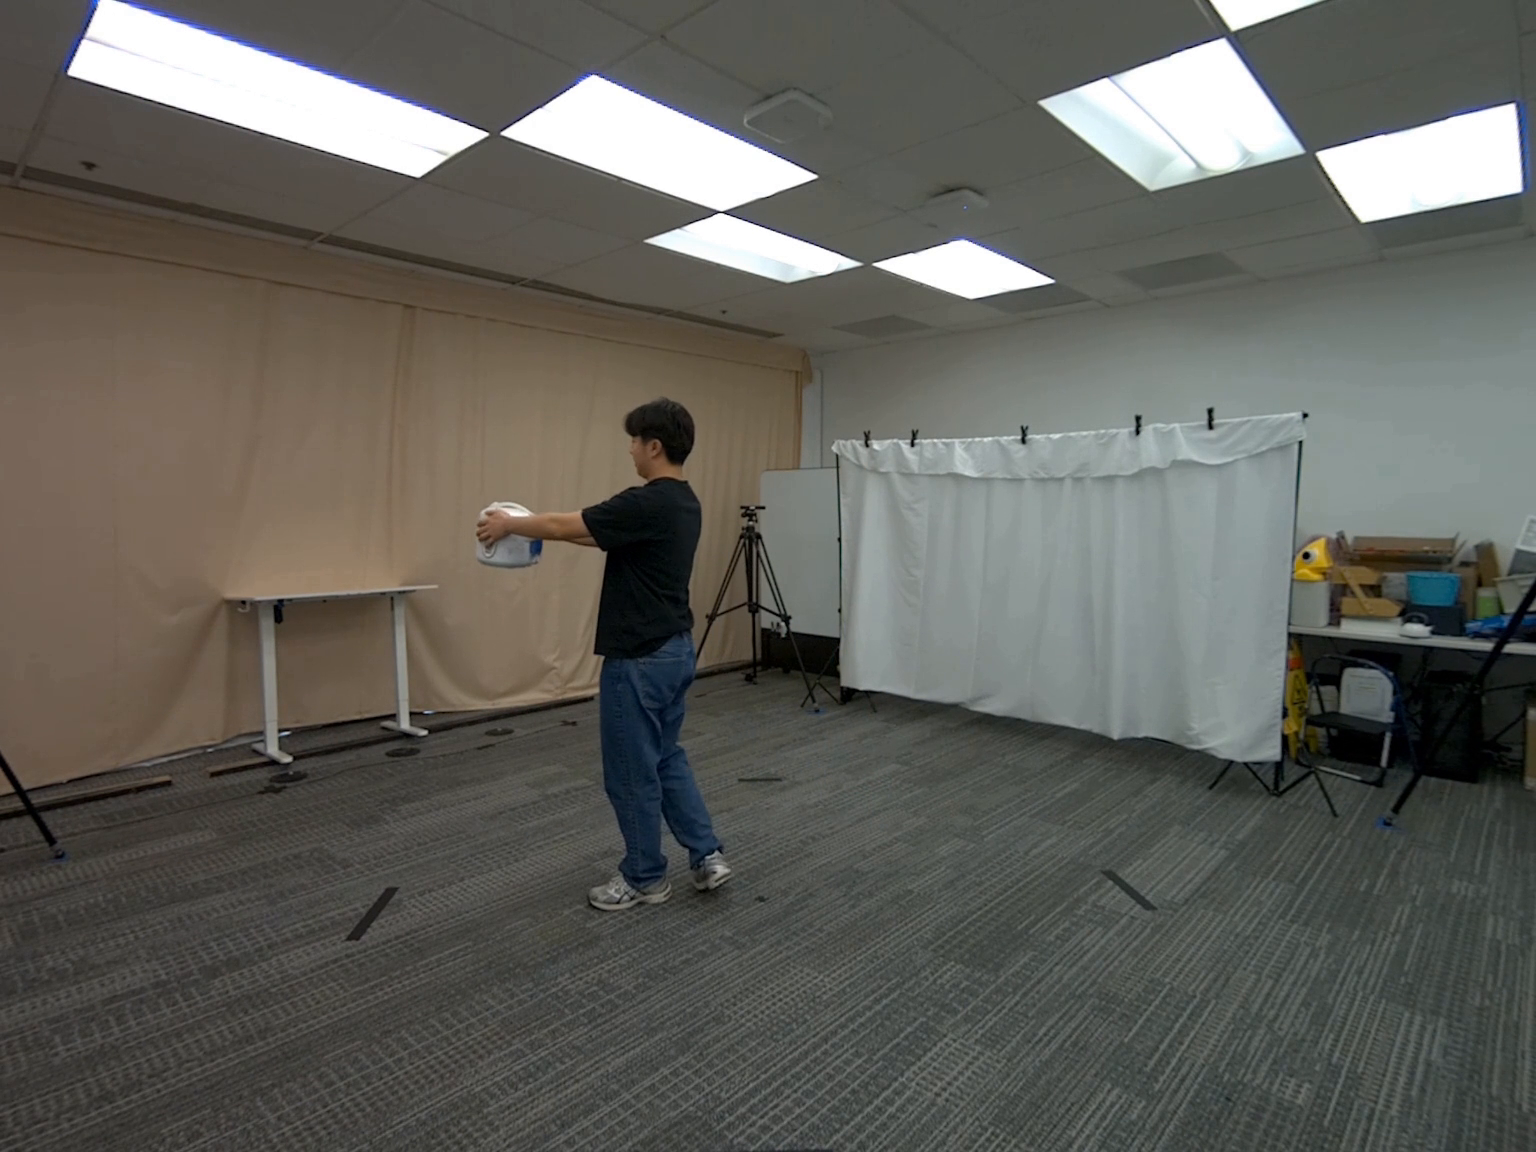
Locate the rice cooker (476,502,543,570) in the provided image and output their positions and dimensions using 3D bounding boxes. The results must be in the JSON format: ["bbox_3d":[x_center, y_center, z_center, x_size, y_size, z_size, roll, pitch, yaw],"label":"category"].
[{"bbox_3d":[-0.949,-0.148,3.076,0.225,0.232,0.213,8,7,18],"label":"rice cooker"}]
